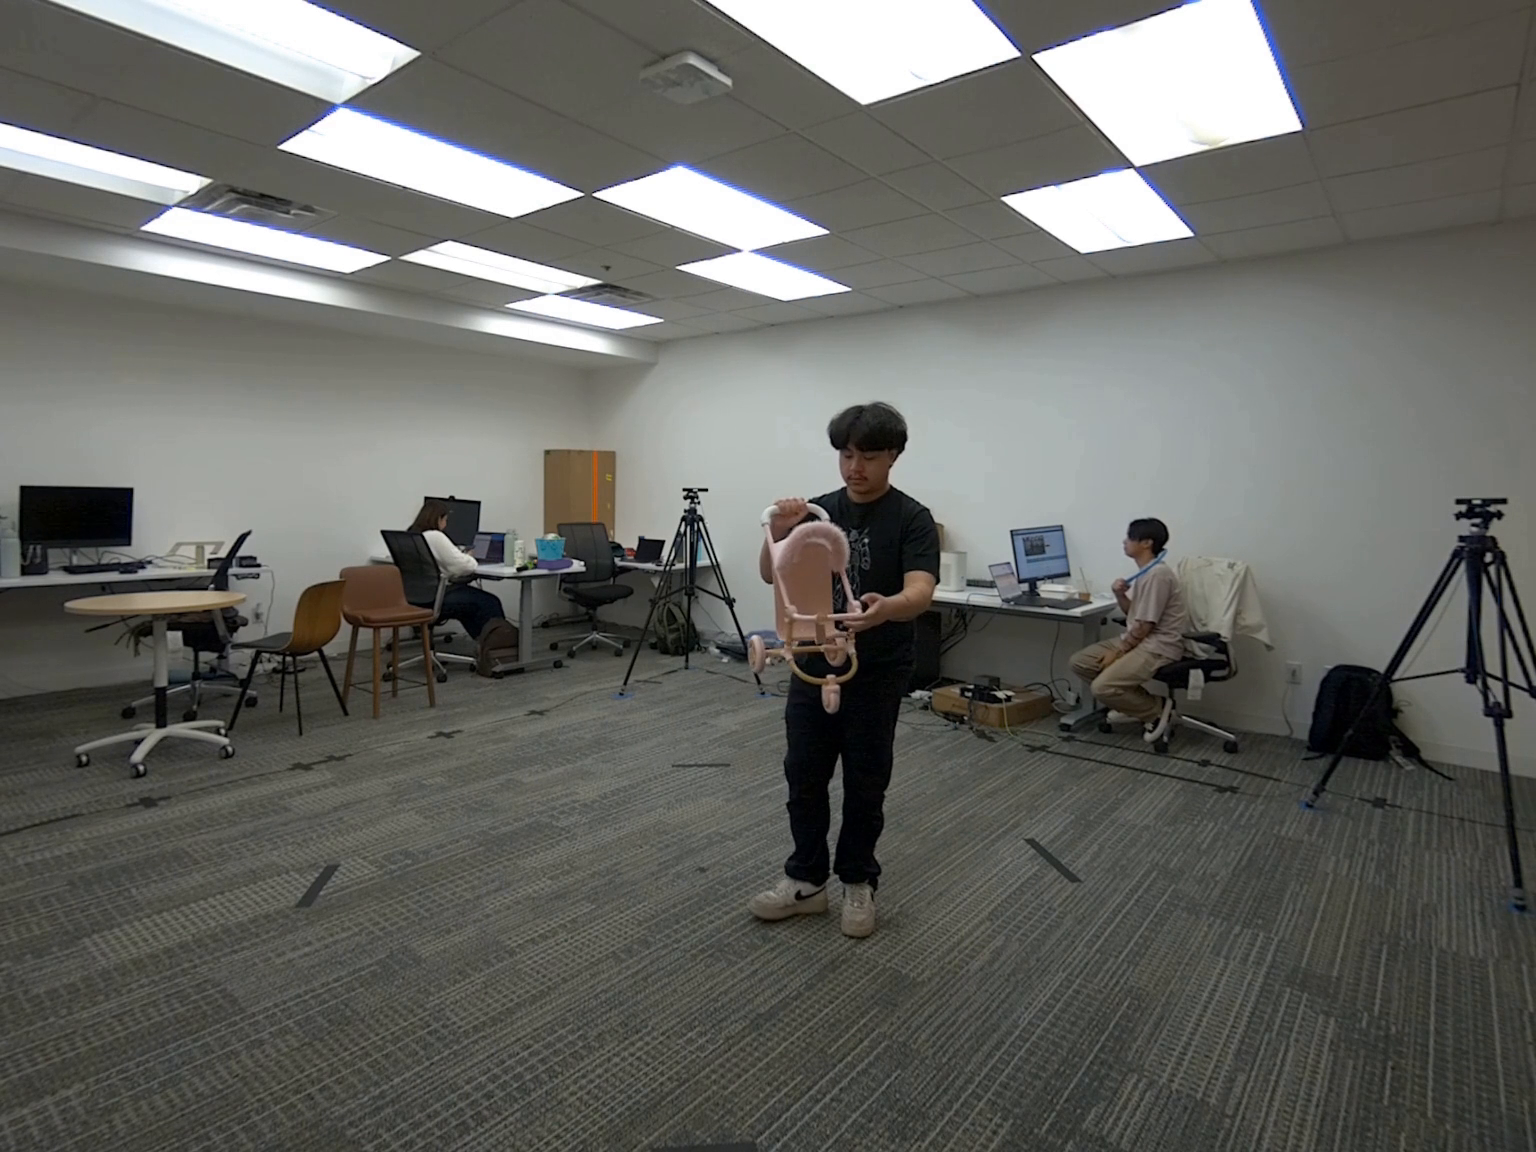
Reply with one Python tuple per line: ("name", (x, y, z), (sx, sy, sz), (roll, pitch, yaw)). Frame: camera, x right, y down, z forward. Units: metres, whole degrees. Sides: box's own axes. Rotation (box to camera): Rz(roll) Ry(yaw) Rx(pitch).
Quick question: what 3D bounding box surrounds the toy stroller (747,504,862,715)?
("toy stroller", (0.109, 0.076, 2.363), (0.277, 0.531, 0.349), (-1, 7, -15))
